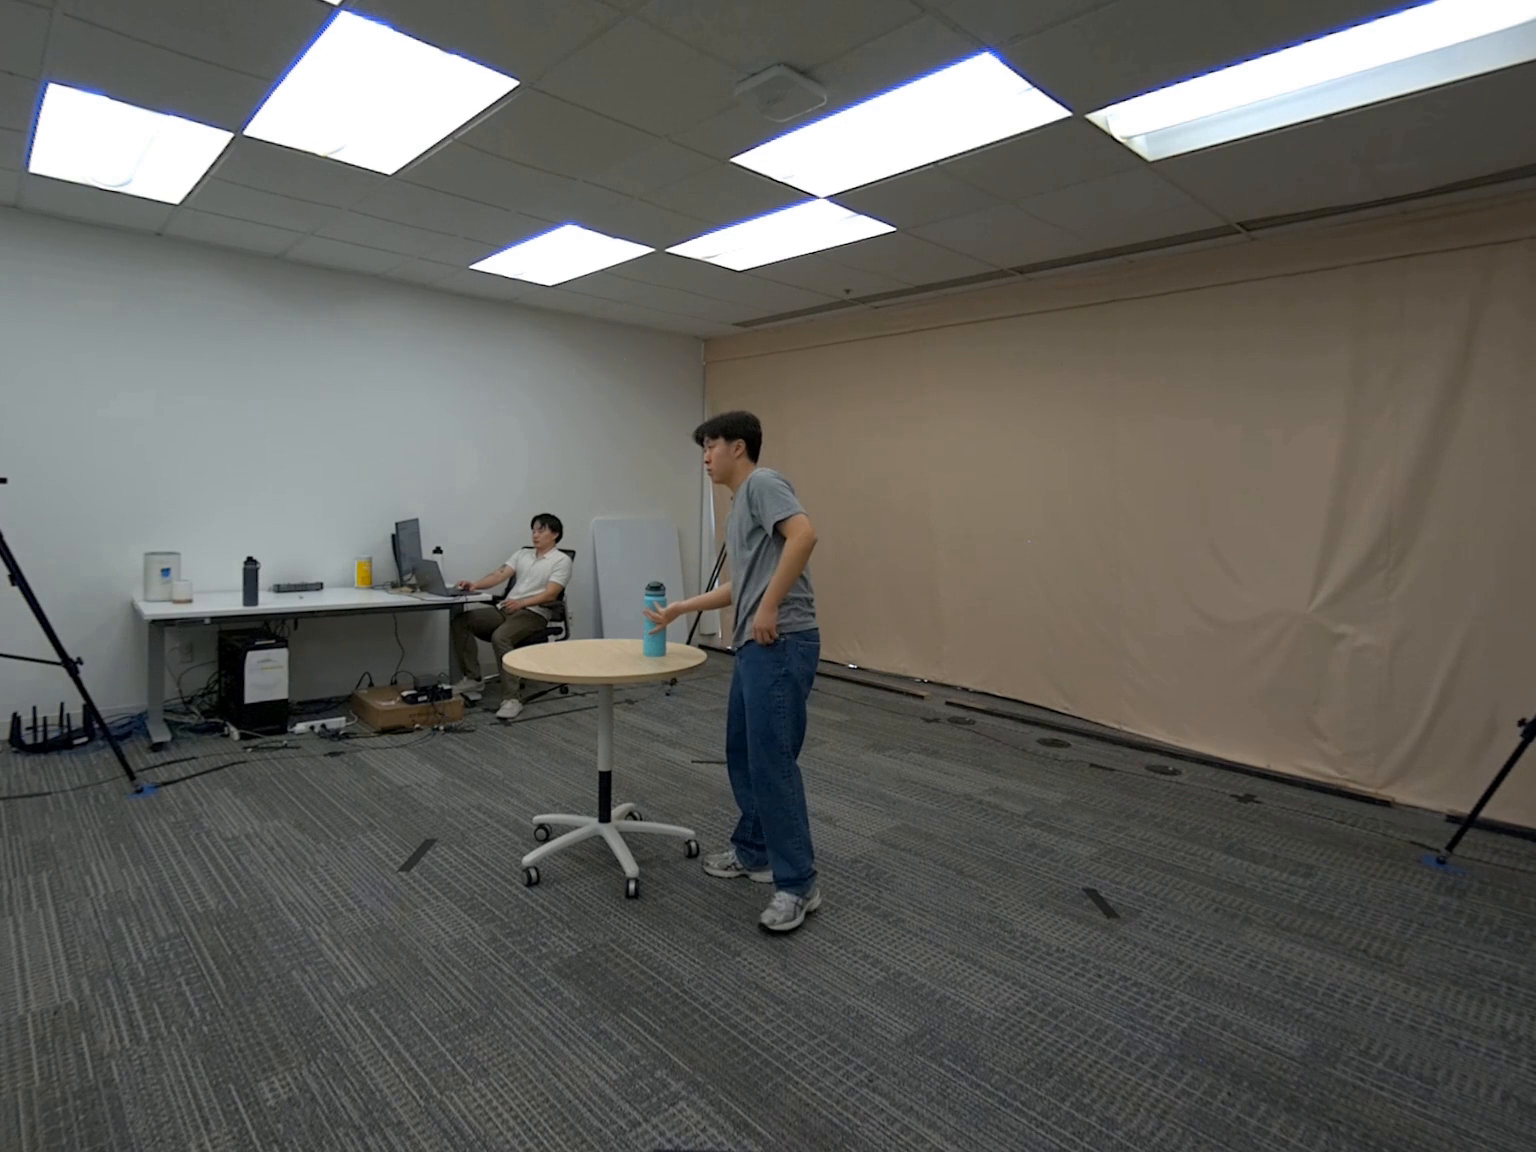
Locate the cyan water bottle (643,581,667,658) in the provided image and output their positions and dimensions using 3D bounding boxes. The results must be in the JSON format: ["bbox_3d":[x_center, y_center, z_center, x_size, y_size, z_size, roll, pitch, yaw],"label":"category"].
[{"bbox_3d":[-0.447,0.165,3.232,0.092,0.283,0.092,2,1,-1],"label":"cyan water bottle"}]
